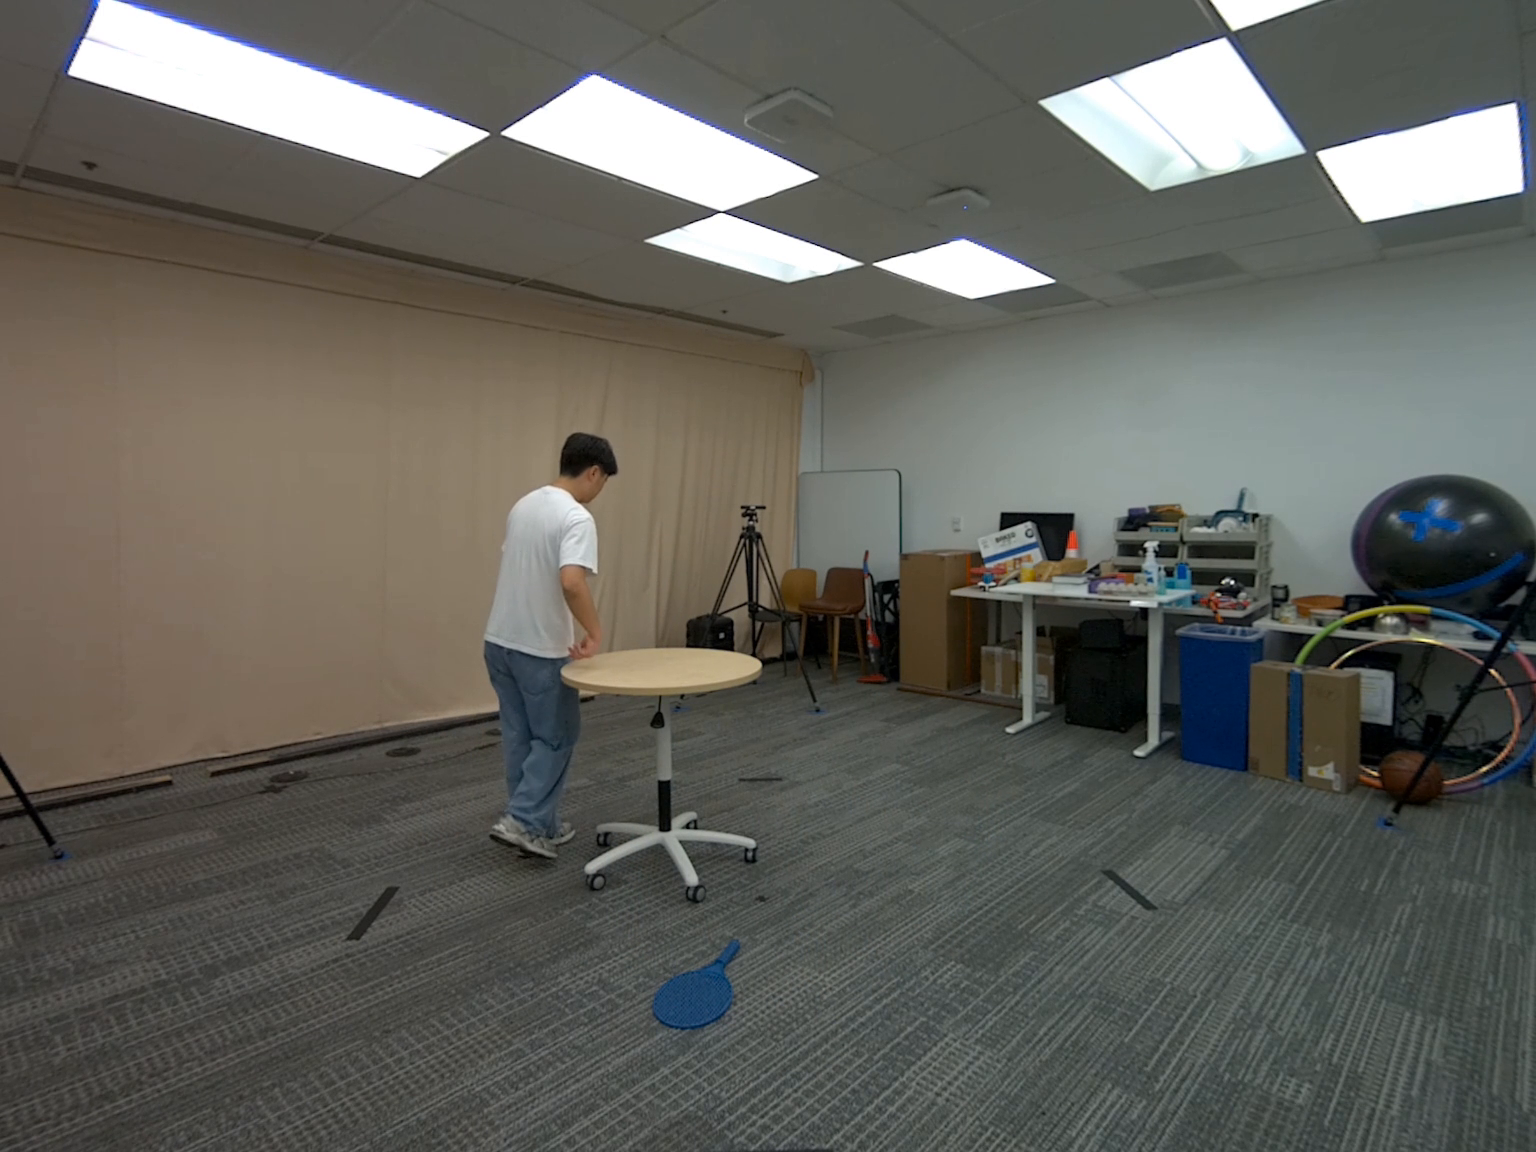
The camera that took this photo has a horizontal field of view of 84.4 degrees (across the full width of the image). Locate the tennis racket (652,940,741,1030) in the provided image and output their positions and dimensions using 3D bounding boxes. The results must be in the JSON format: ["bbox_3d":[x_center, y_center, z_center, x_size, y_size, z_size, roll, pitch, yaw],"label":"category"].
[{"bbox_3d":[-0.177,1.178,2.440,0.219,0.031,0.424,3,7,24],"label":"tennis racket"}]
